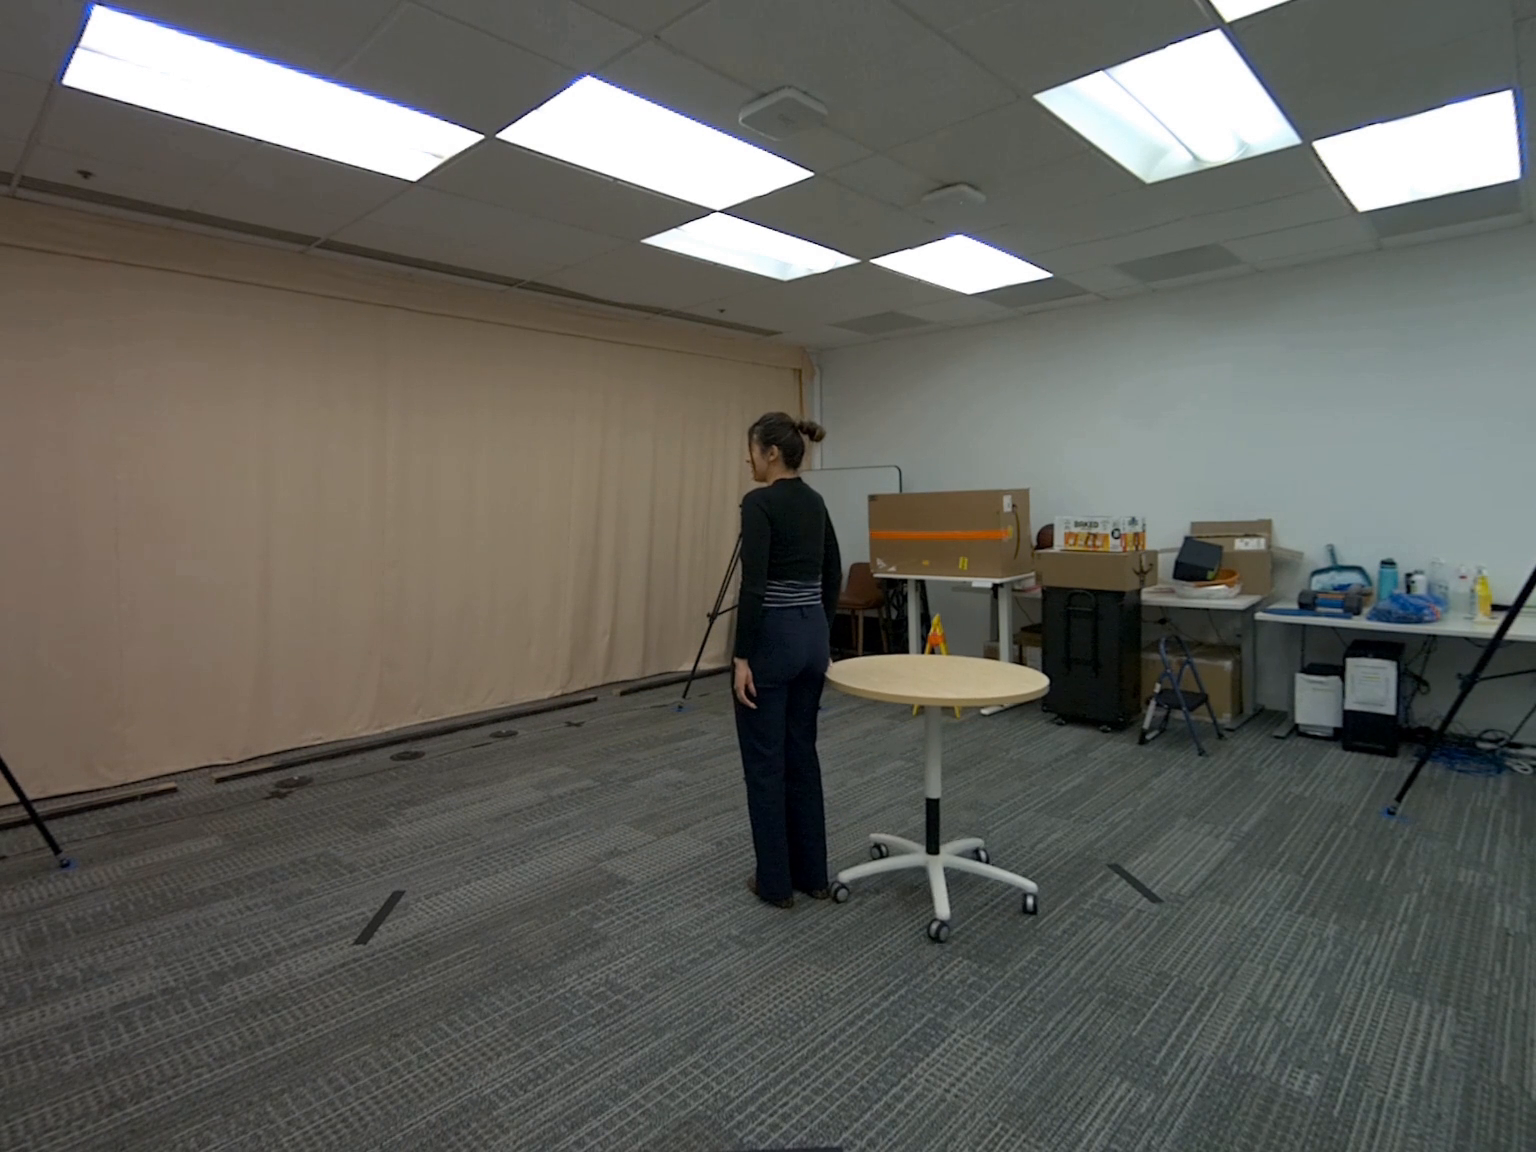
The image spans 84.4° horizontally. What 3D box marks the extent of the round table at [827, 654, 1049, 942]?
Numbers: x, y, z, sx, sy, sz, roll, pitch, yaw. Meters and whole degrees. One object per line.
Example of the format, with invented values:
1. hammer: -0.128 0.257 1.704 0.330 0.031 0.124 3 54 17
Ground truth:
1. round table: 0.589 0.741 2.984 0.763 0.792 0.766 0 3 -2
